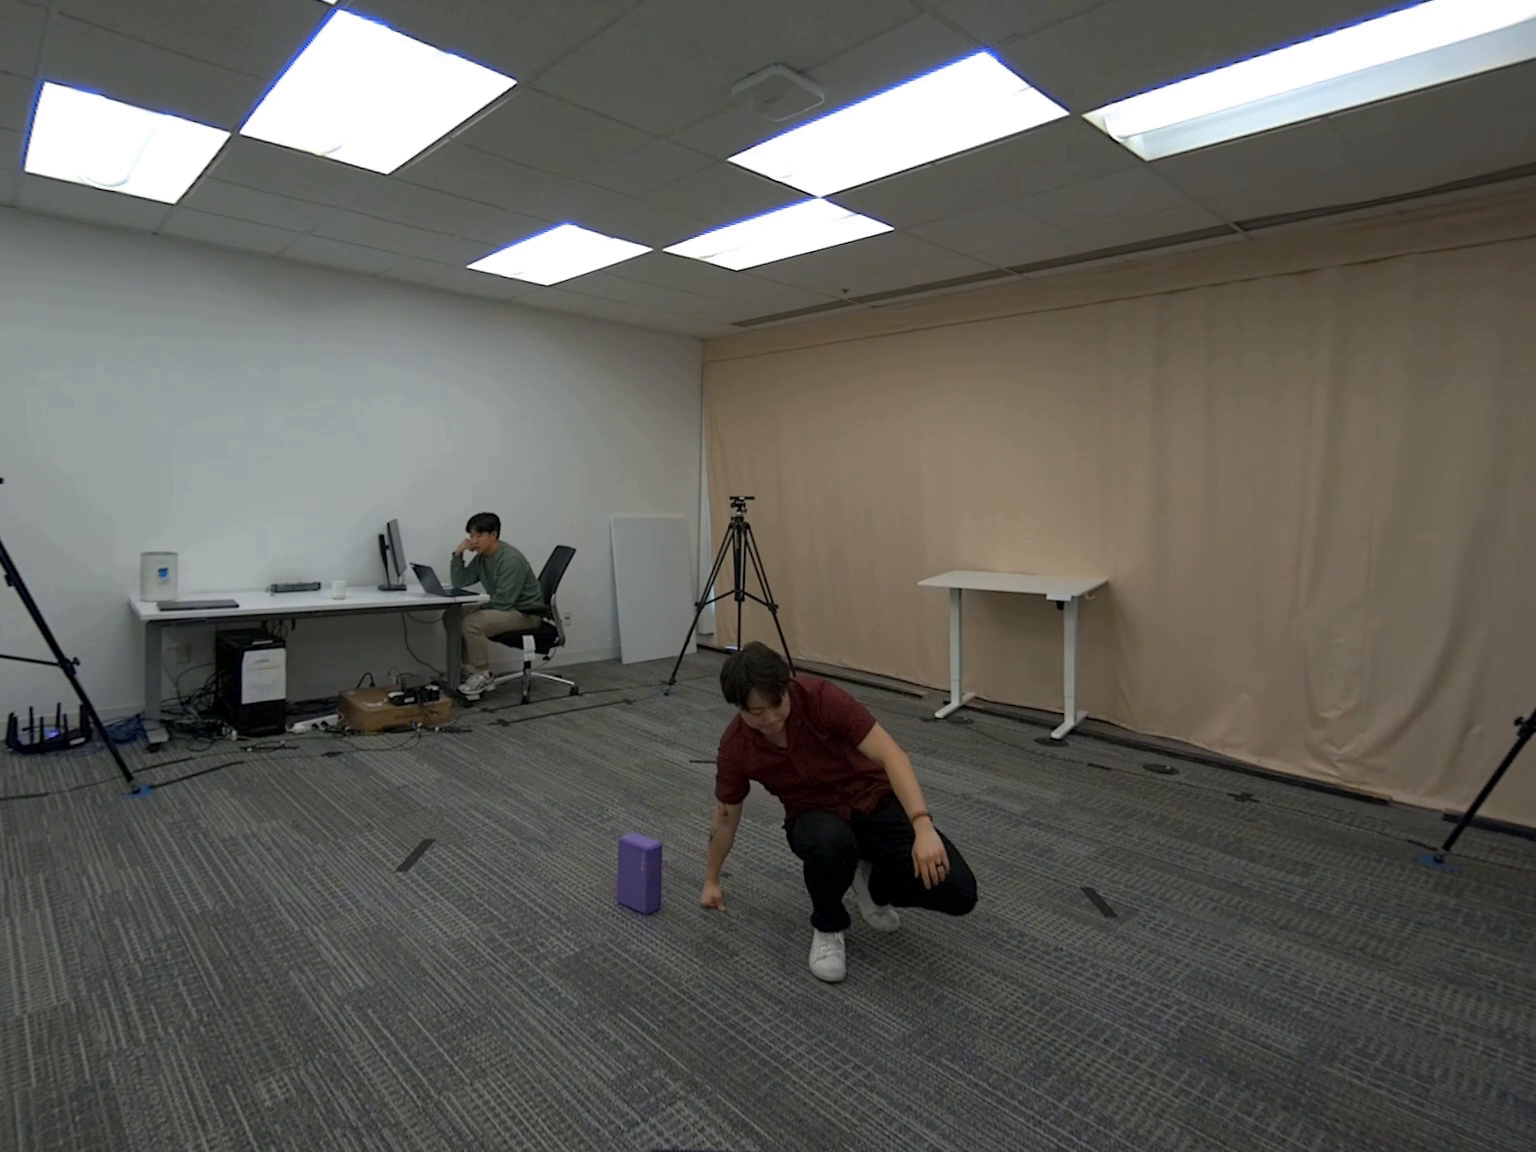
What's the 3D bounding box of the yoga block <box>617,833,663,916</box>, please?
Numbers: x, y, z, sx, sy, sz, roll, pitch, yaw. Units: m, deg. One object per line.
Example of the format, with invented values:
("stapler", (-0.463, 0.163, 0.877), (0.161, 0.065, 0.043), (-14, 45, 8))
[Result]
("yoga block", (-0.437, 1.001, 2.848), (0.152, 0.229, 0.075), (3, 3, 36))
